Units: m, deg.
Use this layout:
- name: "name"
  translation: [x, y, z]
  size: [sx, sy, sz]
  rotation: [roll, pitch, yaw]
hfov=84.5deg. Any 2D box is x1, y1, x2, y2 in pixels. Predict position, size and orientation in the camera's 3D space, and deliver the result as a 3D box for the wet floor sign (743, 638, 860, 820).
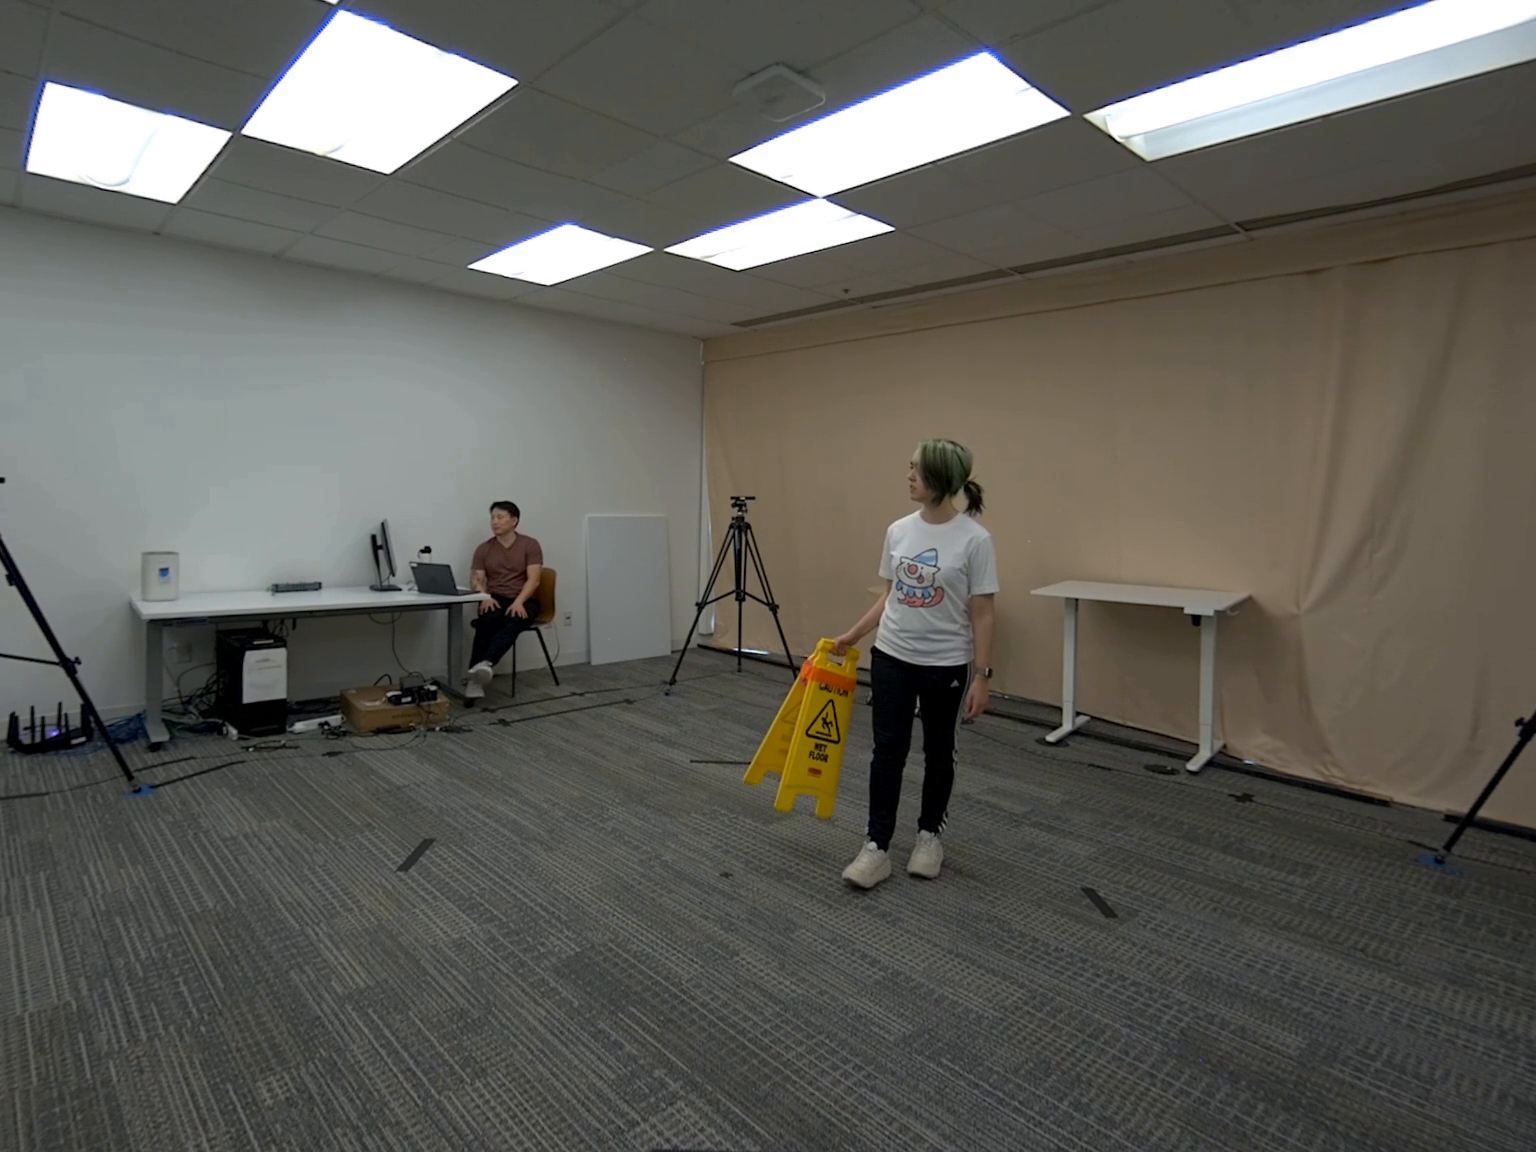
- name: "wet floor sign"
  translation: [0.173, 0.570, 3.285]
  size: [0.275, 0.646, 0.297]
  rotation: [20, -2, -32]
